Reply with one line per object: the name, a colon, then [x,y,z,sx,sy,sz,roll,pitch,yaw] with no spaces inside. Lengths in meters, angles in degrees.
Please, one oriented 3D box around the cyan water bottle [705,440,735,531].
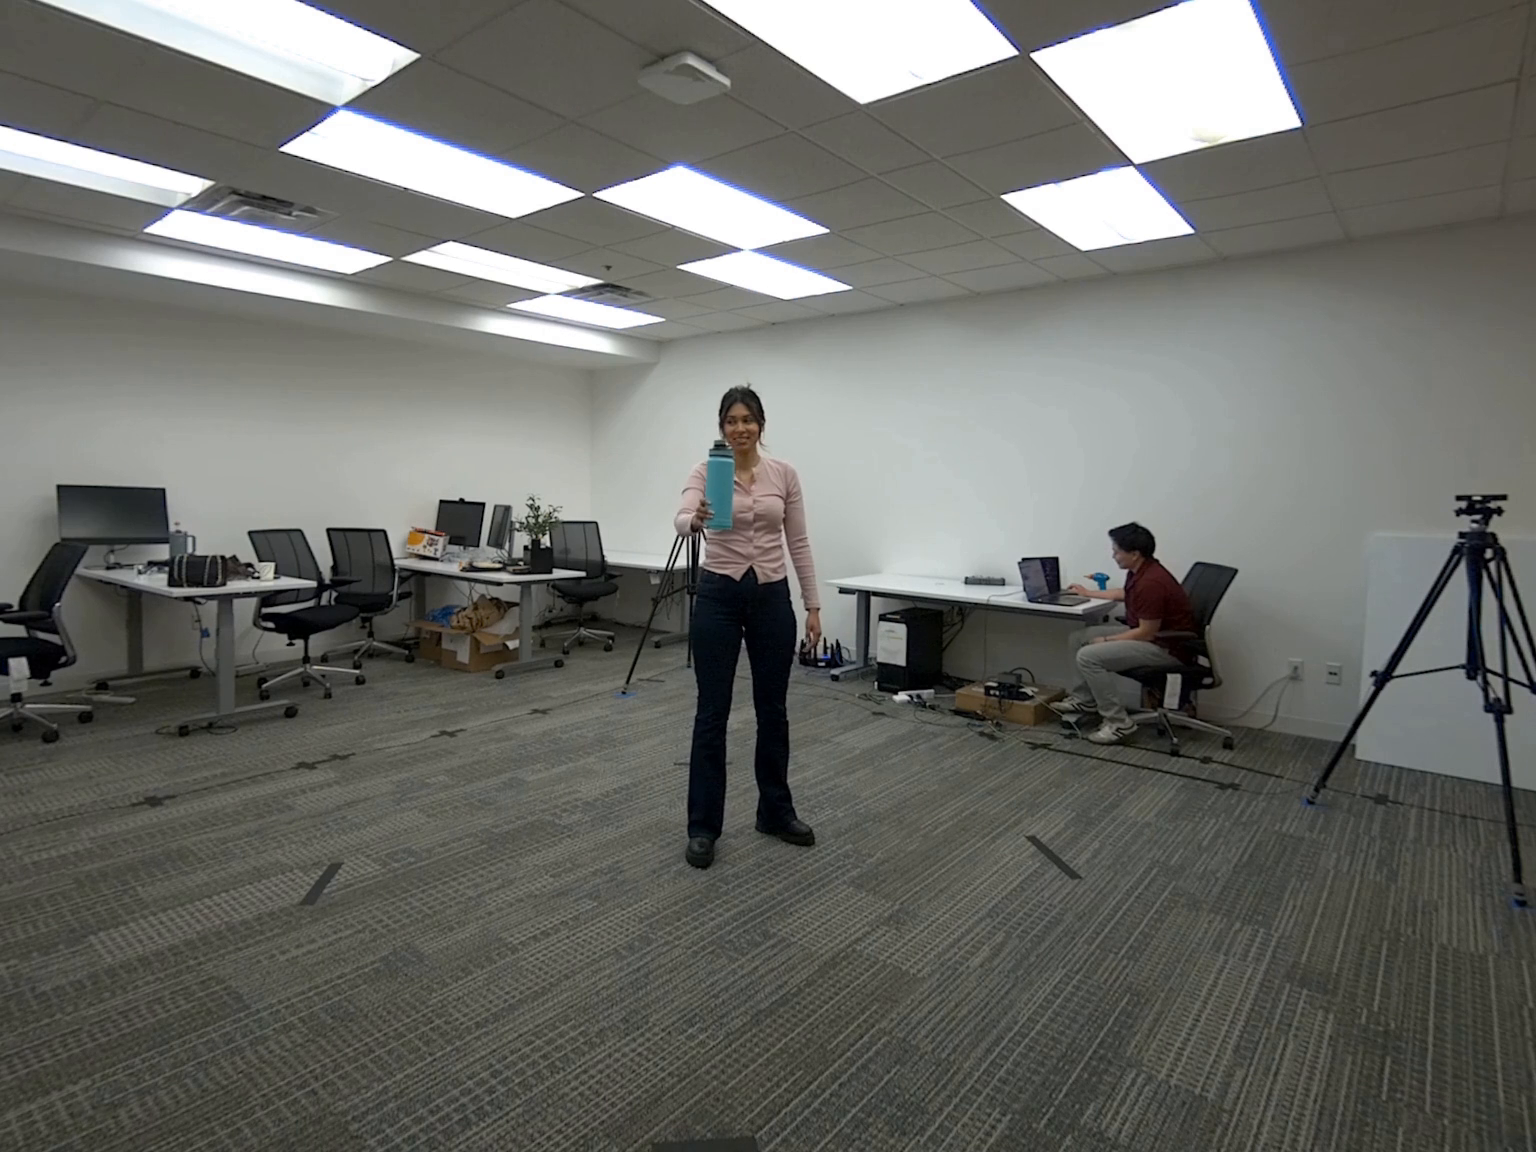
cyan water bottle: [-0.165,-0.299,2.709,0.092,0.283,0.092,2,1,-2]
